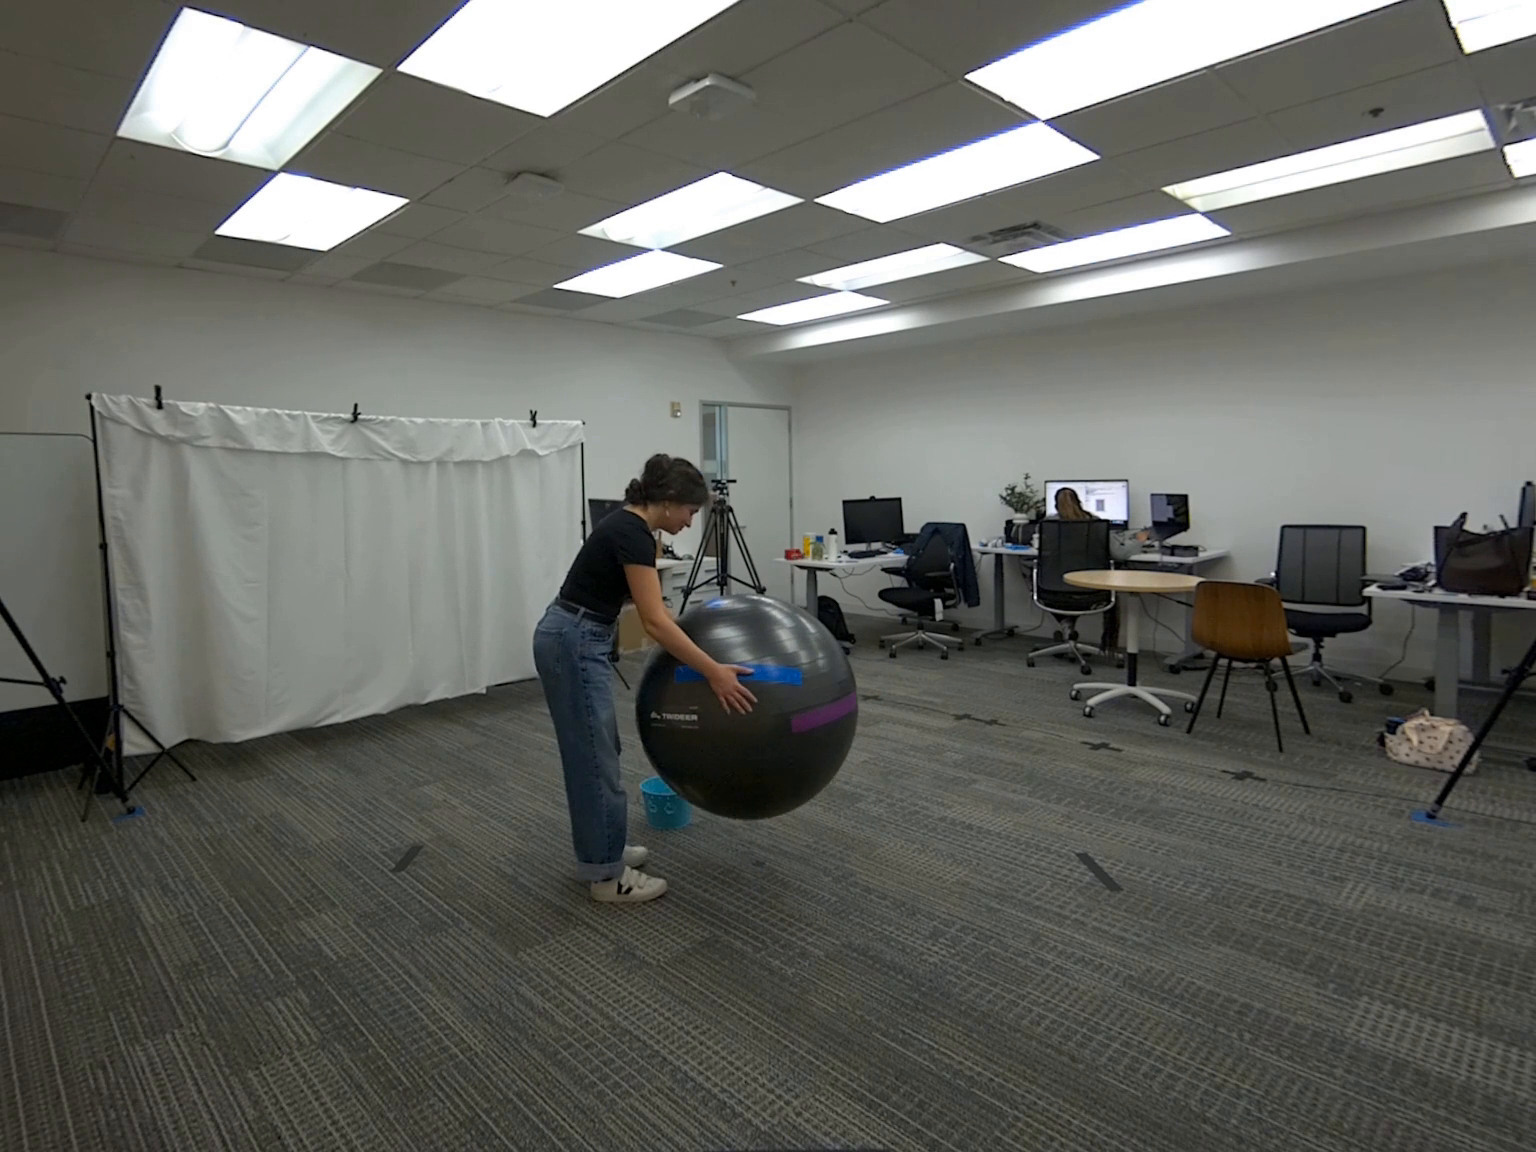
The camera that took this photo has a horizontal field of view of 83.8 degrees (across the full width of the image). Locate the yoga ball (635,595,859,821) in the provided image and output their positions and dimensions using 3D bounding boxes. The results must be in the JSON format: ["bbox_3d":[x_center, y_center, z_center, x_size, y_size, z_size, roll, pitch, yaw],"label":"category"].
[{"bbox_3d":[-0.076,0.442,2.947,0.757,0.755,0.762,-1,5,-2],"label":"yoga ball"}]
